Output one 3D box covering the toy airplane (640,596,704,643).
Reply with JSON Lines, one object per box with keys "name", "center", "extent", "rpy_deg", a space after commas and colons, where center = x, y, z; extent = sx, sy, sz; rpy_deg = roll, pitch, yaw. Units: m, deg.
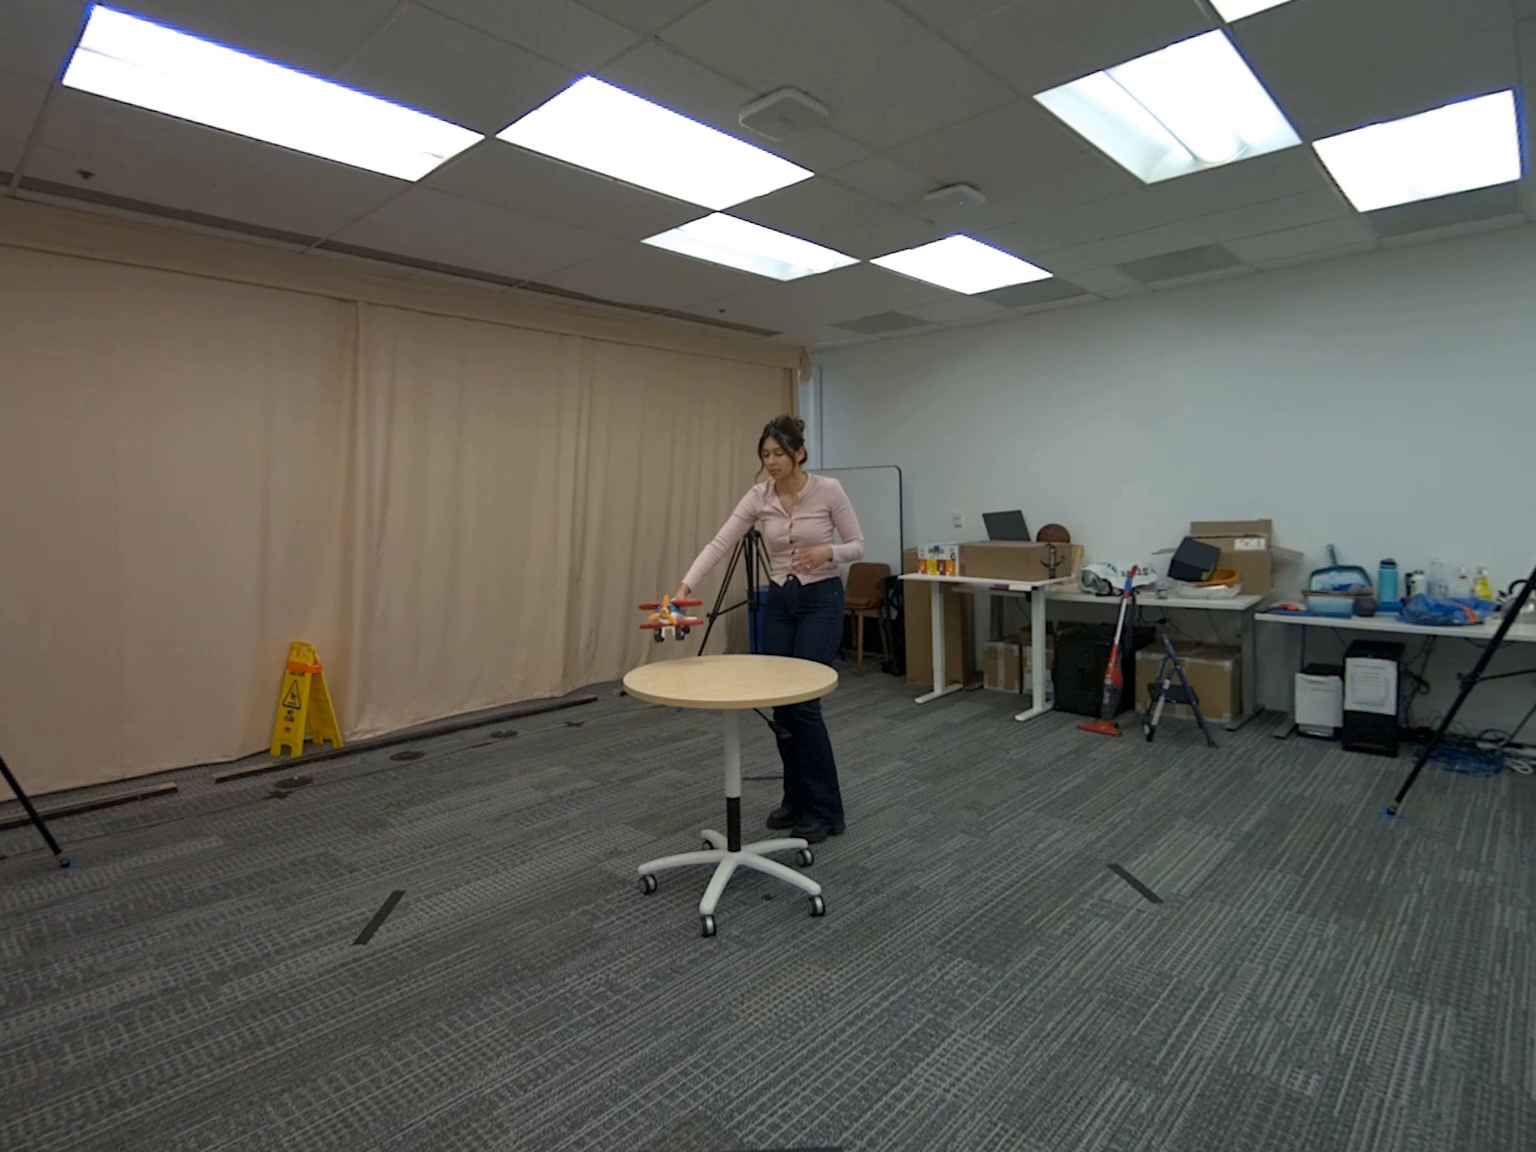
{"name": "toy airplane", "center": [-0.394, 0.169, 3.333], "extent": [0.248, 0.156, 0.263], "rpy_deg": [-7, 3, -14]}
